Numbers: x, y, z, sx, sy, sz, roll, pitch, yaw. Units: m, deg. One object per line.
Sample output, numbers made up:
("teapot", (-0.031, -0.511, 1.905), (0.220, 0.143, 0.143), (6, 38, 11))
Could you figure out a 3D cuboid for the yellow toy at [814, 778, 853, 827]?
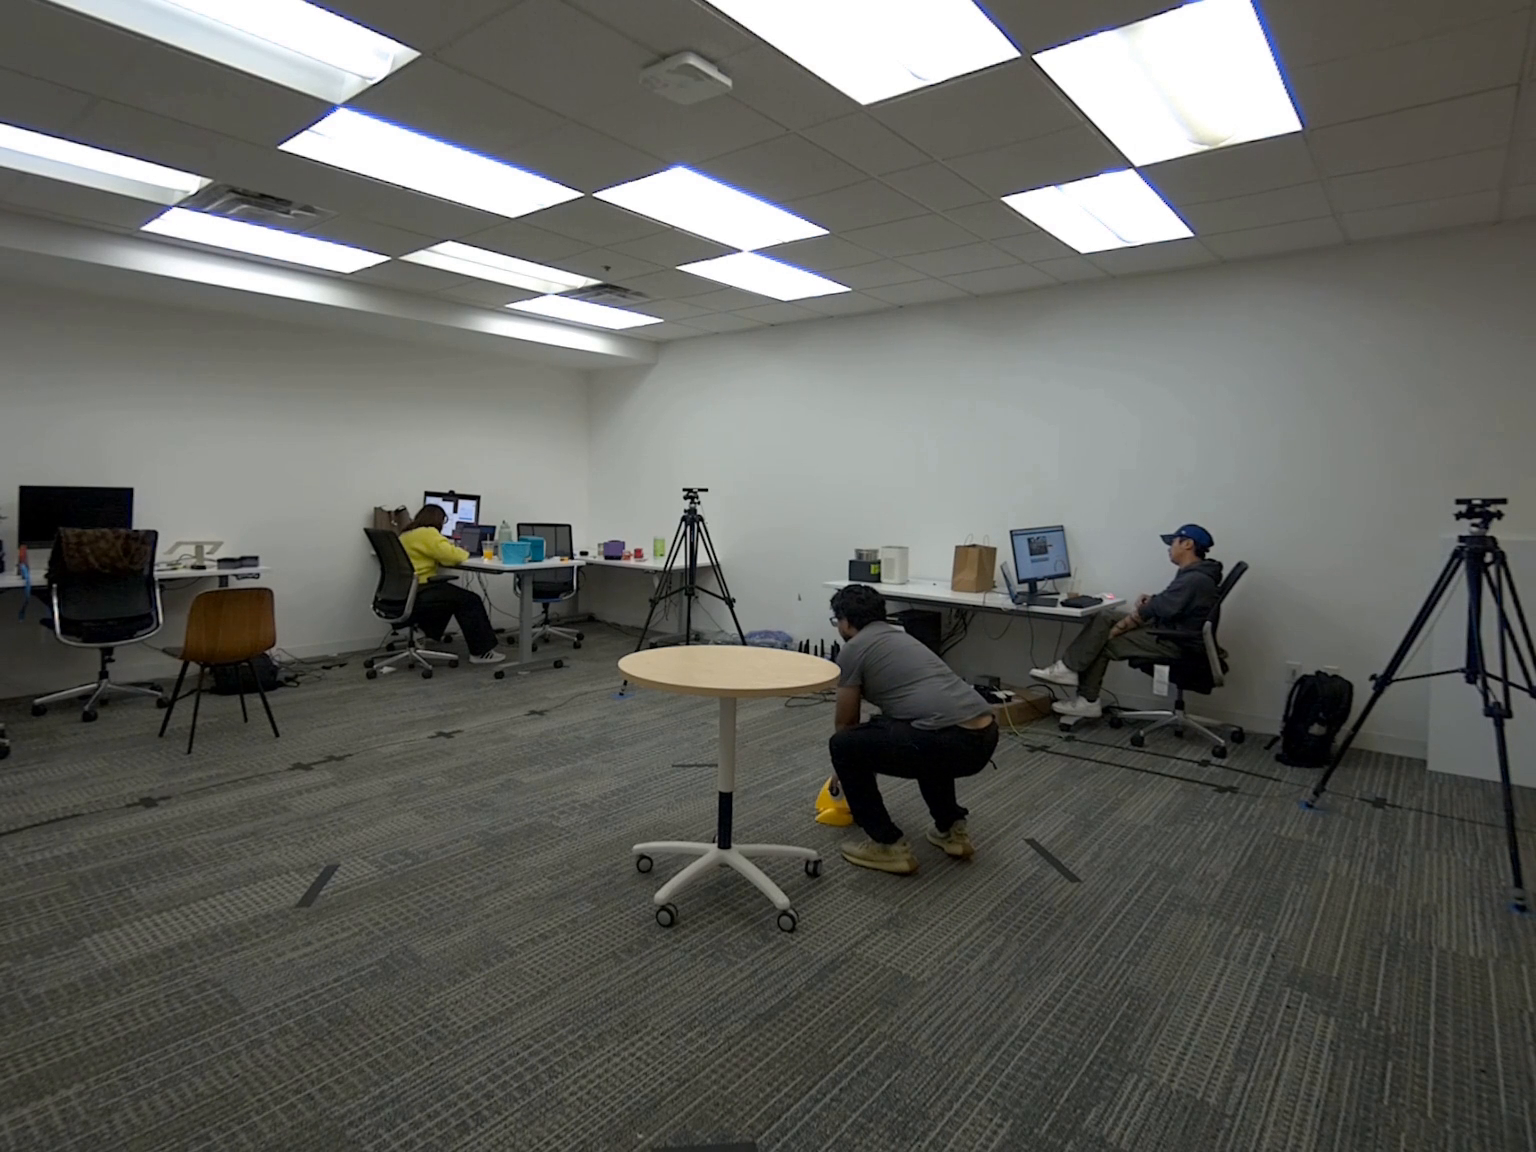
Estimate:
("yellow toy", (0.292, 0.907, 3.646), (0.195, 0.230, 0.203), (4, 3, 8))
